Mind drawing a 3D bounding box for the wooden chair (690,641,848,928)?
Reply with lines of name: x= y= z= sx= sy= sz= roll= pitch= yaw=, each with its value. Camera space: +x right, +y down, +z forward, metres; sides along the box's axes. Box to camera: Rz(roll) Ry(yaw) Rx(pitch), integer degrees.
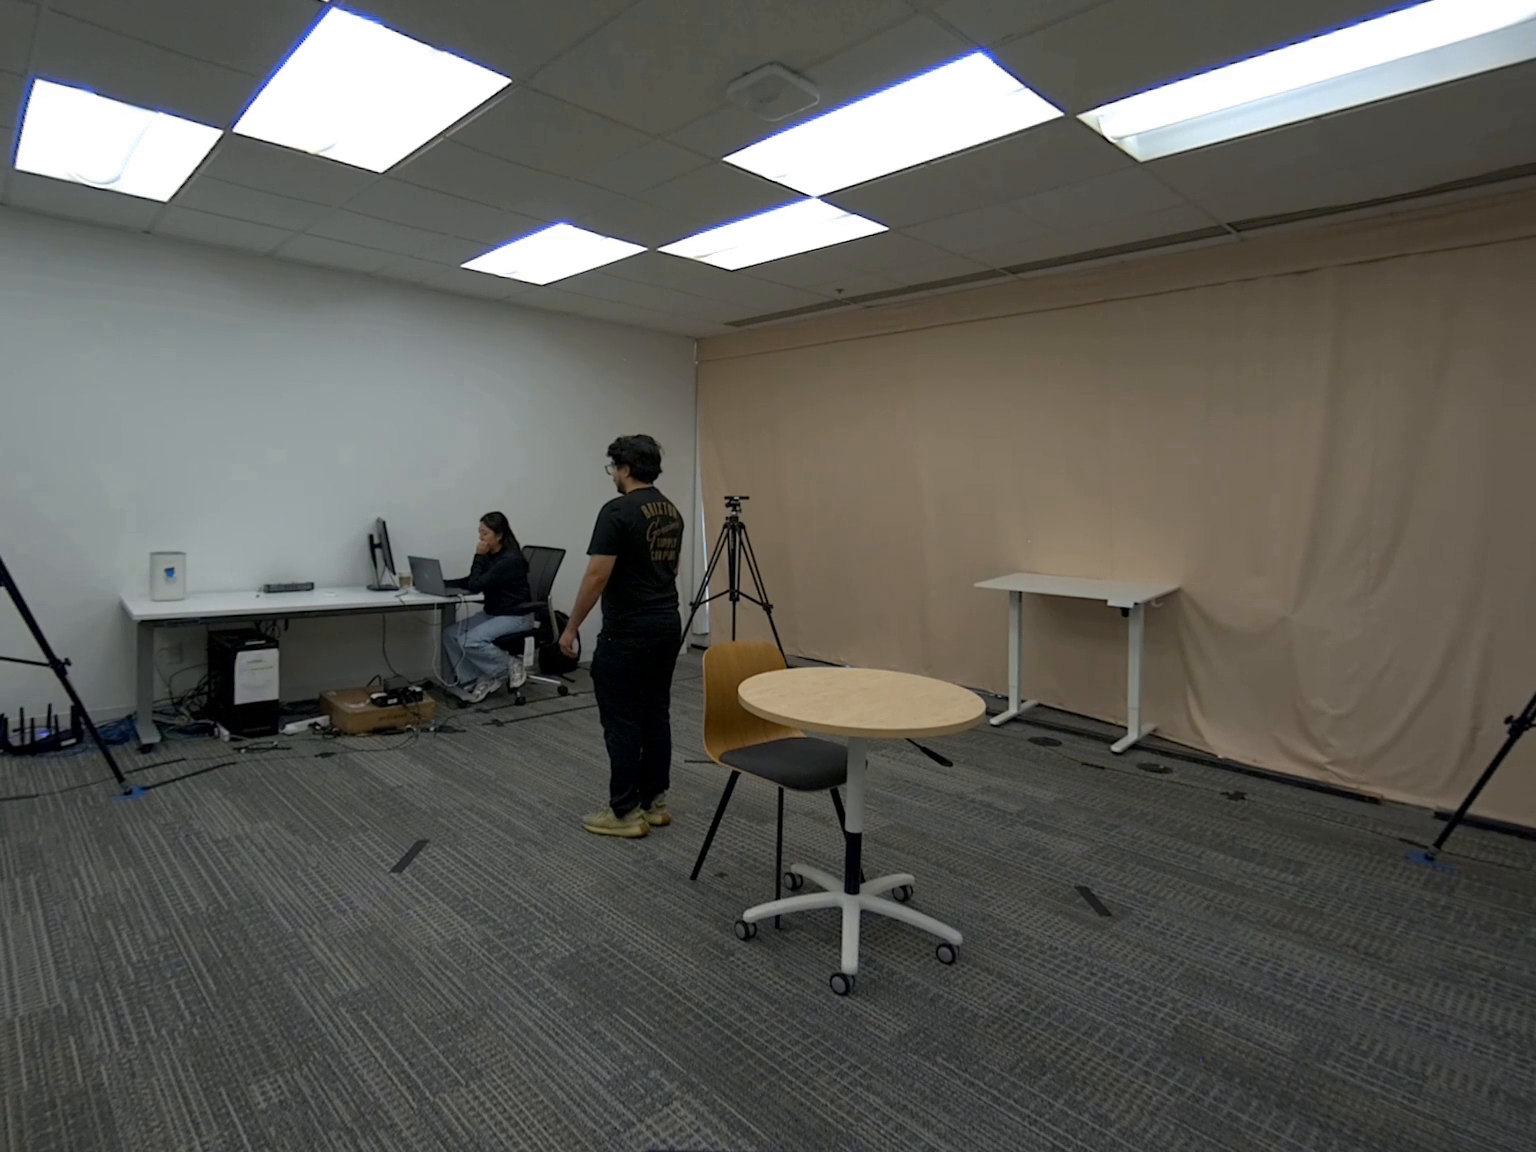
wooden chair: x=0.044 y=0.690 z=2.995 sx=0.467 sy=0.878 sz=0.535 roll=0 pitch=-1 yaw=-42
